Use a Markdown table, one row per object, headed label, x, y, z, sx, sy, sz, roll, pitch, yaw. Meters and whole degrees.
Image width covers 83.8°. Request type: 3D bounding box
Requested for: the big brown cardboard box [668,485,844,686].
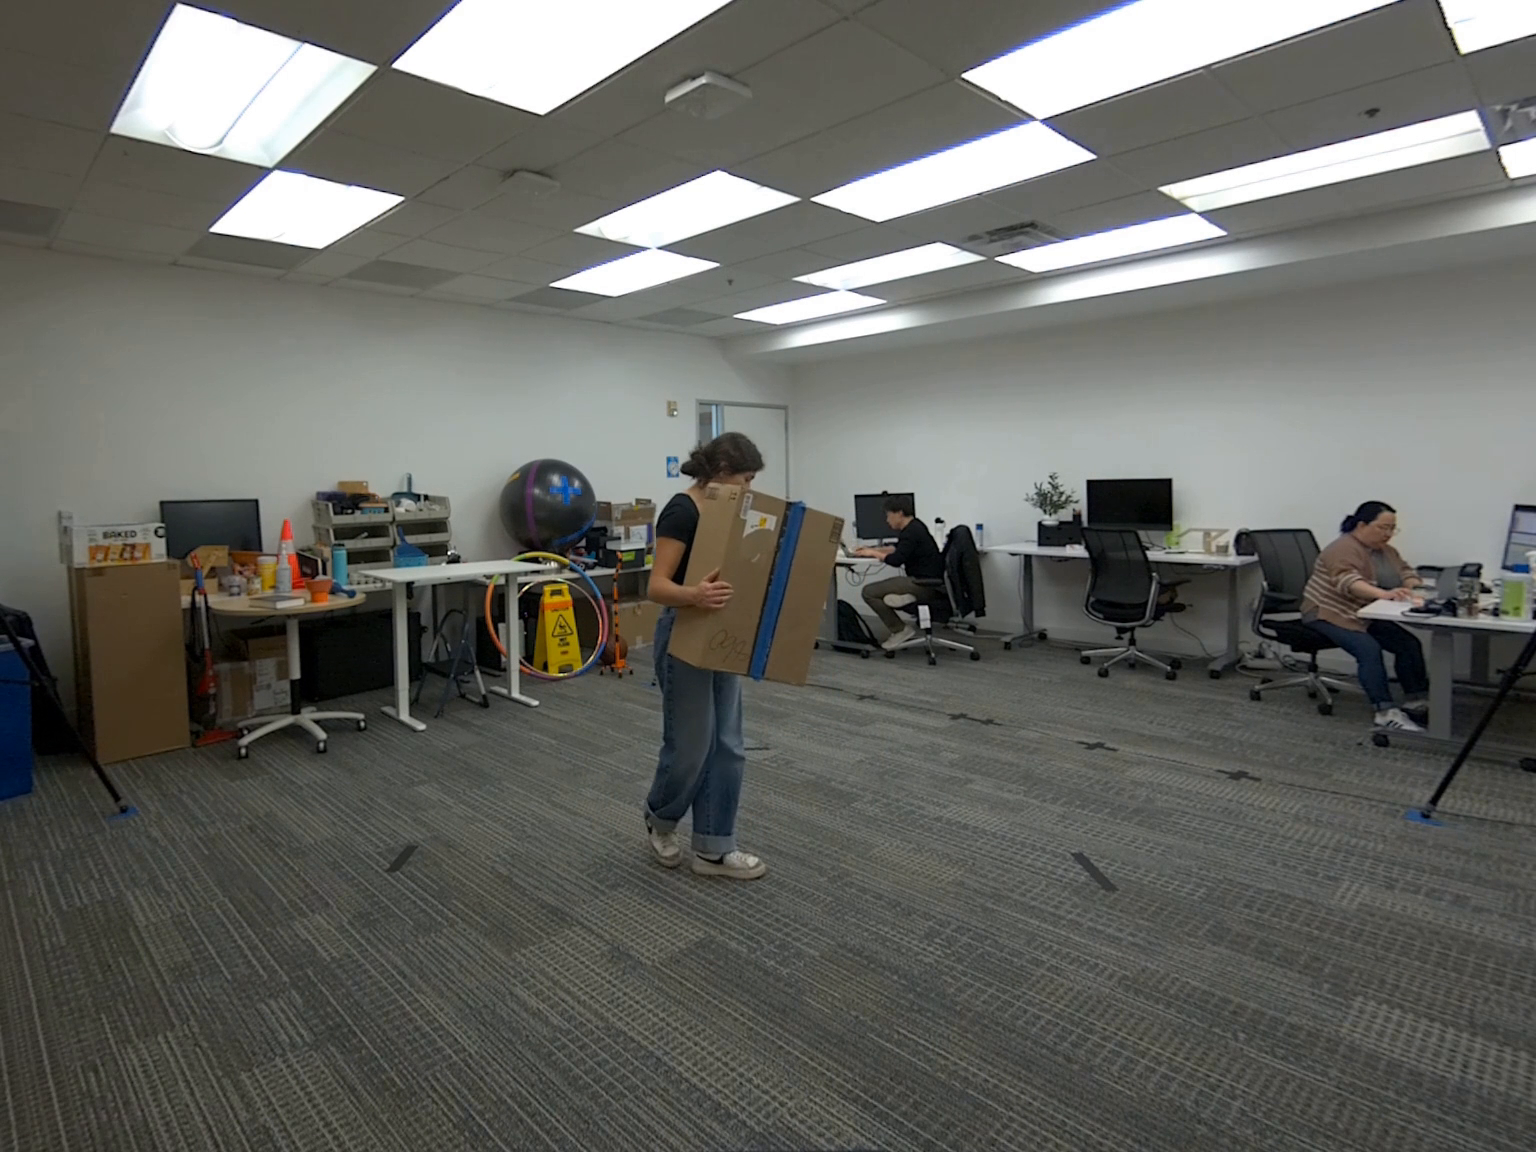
| label | x | y | z | sx | sy | sz | roll | pitch | yaw |
| --- | --- | --- | --- | --- | --- | --- | --- | --- | --- |
| big brown cardboard box | -0.030 | 0.027 | 2.768 | 0.405 | 0.589 | 0.240 | 13 | 0 | -33 |
